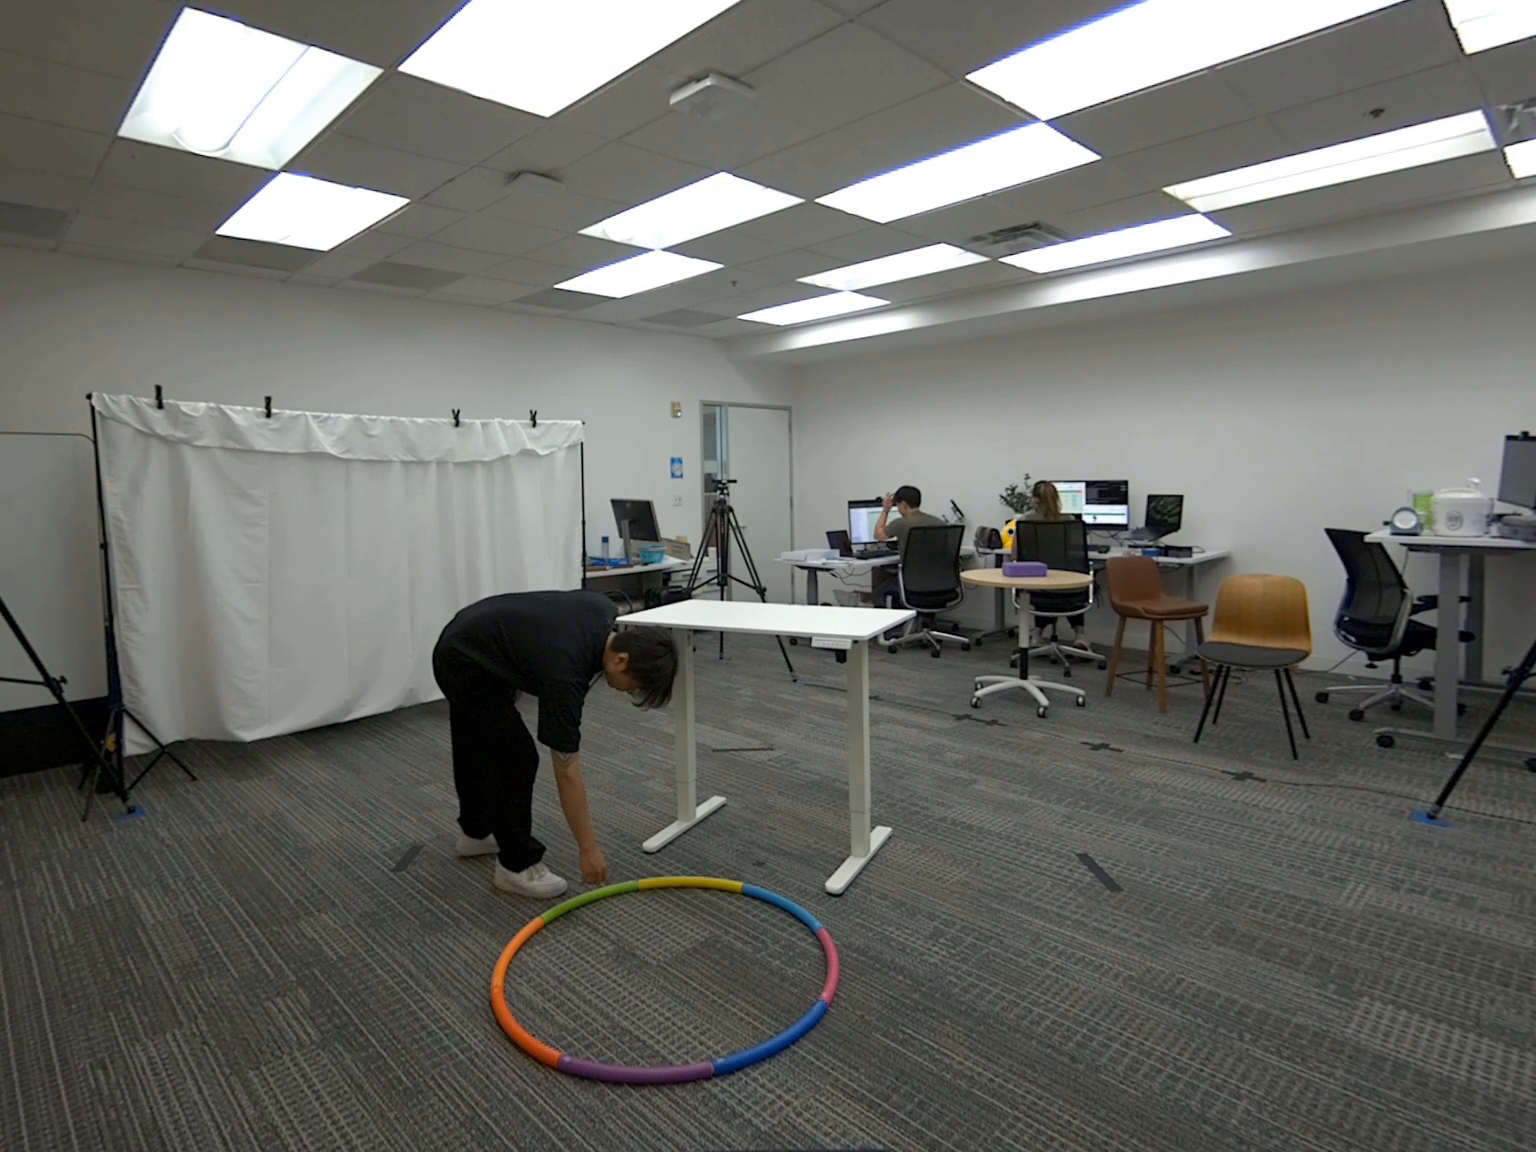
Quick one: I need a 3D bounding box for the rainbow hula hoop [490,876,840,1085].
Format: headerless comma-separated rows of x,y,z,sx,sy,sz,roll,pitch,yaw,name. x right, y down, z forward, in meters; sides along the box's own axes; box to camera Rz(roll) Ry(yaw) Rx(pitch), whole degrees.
-0.283,1.101,2.468,0.978,0.035,0.984,-1,6,-2,rainbow hula hoop
